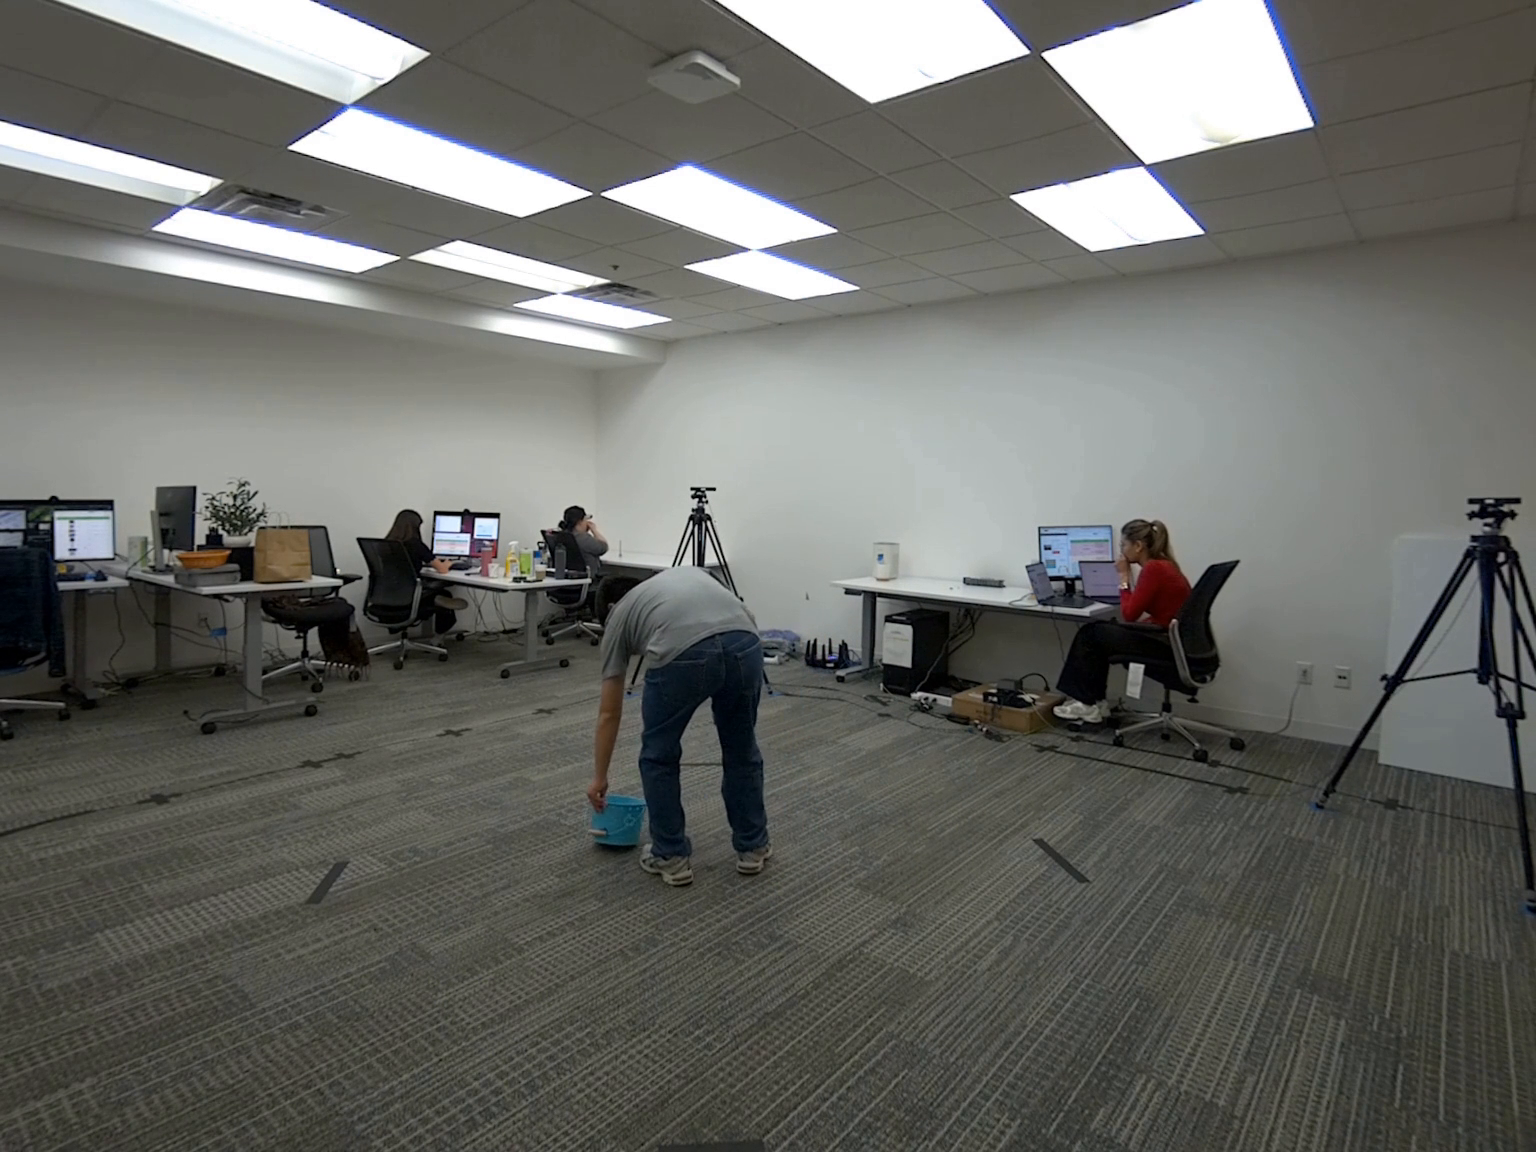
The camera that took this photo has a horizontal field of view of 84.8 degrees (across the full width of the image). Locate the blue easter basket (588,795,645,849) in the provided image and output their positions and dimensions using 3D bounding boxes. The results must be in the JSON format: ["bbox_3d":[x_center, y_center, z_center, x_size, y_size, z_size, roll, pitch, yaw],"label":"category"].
[{"bbox_3d":[-0.598,0.947,3.302,0.244,0.157,0.241,6,-10,-1],"label":"blue easter basket"}]
